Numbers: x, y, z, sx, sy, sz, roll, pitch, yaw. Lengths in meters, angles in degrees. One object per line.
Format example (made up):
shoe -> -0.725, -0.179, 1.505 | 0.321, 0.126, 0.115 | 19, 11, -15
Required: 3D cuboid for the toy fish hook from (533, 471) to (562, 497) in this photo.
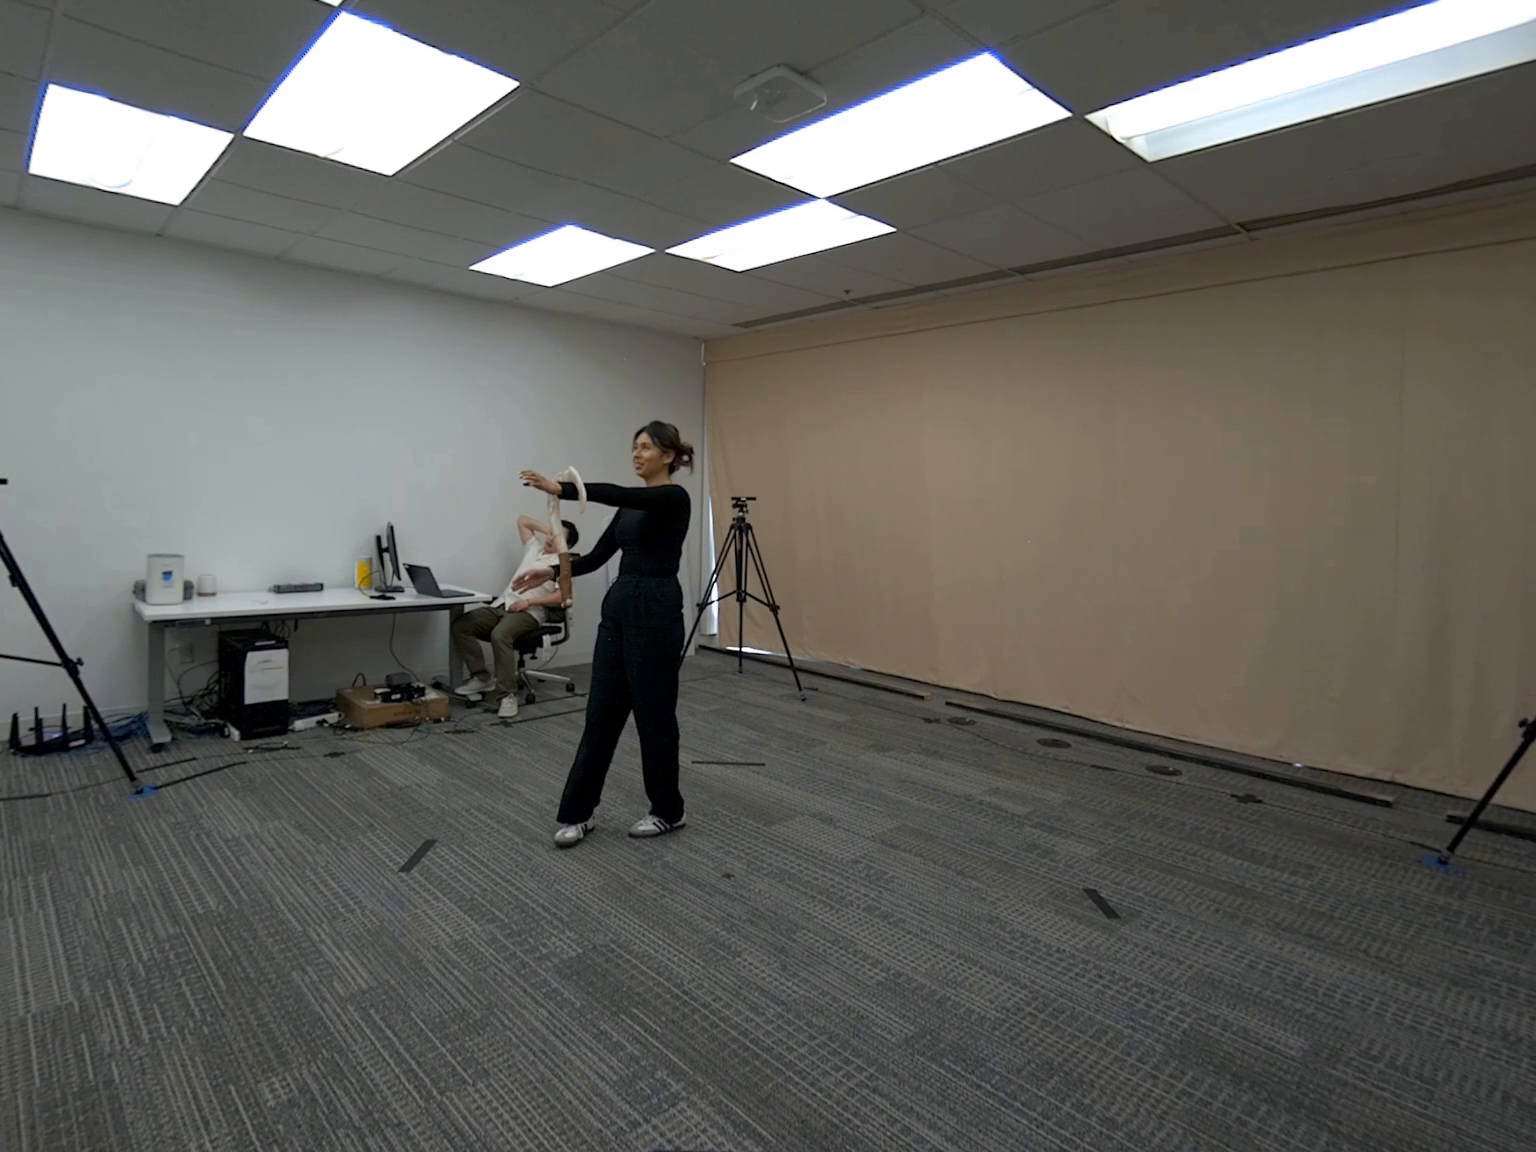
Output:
toy fish hook -> -0.727, -0.144, 3.020 | 0.047, 0.512, 0.228 | 7, -19, -41
